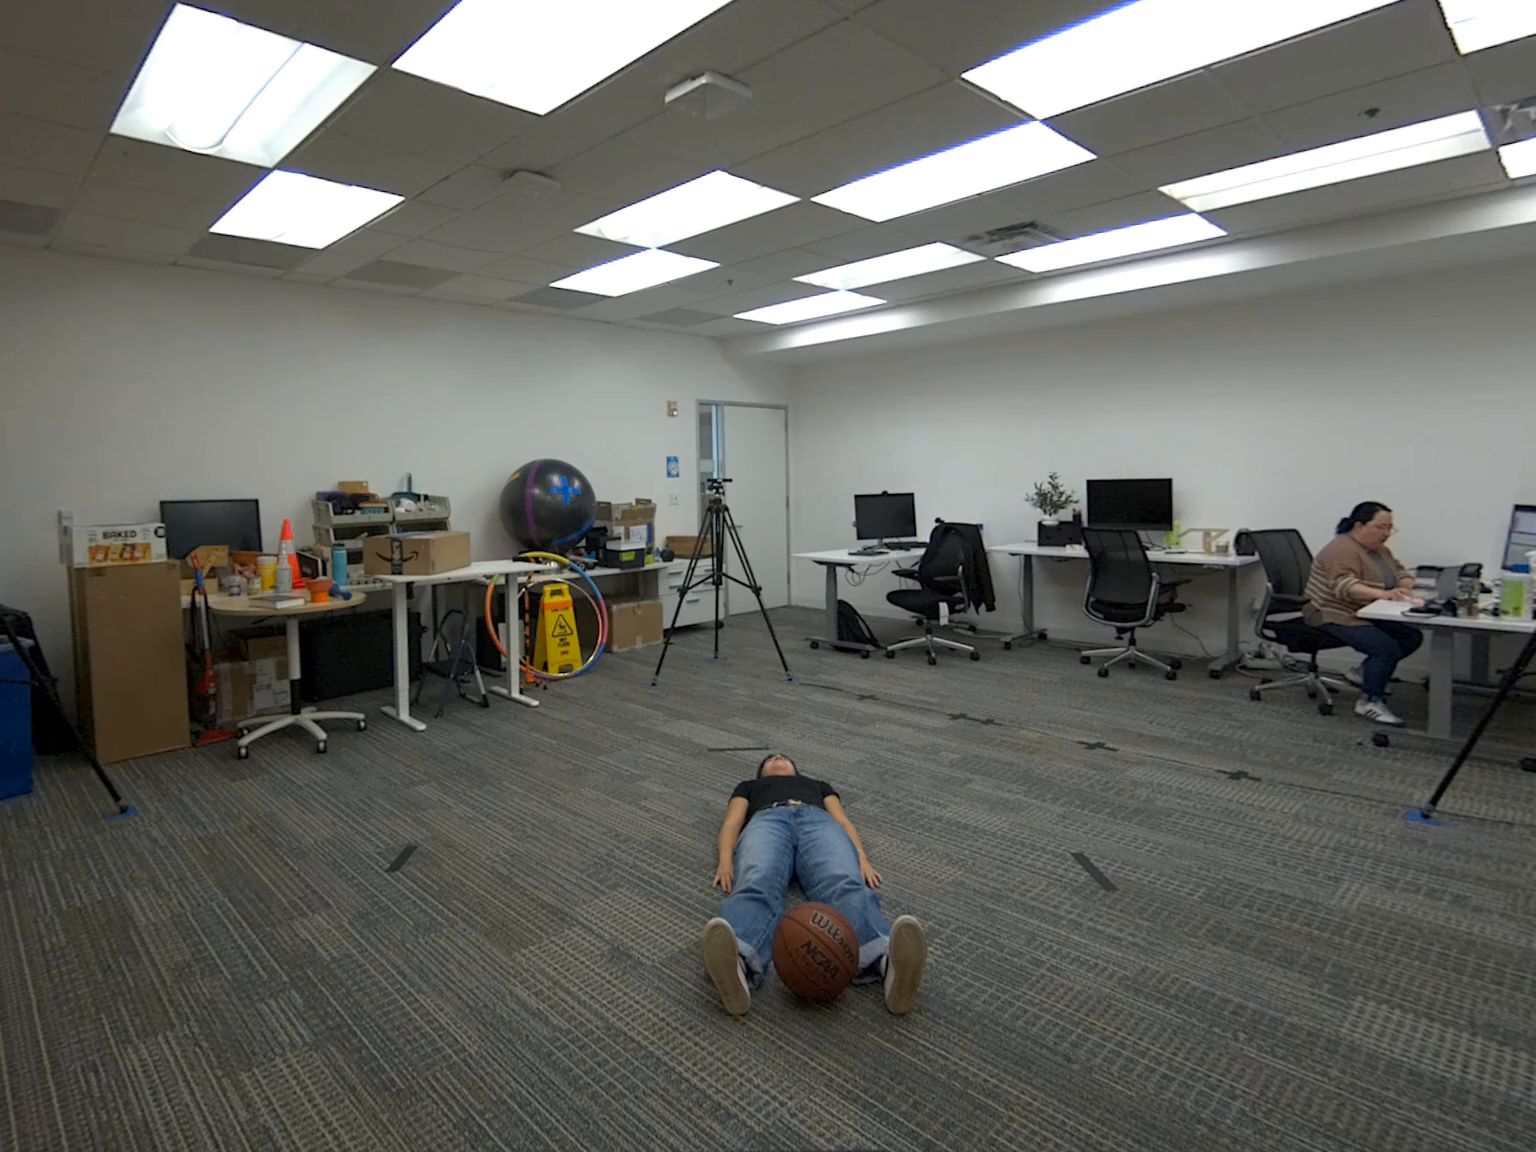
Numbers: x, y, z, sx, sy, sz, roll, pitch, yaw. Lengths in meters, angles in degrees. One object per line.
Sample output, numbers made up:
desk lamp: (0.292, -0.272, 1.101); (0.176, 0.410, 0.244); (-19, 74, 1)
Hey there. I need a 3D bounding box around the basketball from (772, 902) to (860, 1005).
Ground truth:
basketball: (0.132, 1.011, 2.315); (0.236, 0.235, 0.237); (-1, 5, -2)
